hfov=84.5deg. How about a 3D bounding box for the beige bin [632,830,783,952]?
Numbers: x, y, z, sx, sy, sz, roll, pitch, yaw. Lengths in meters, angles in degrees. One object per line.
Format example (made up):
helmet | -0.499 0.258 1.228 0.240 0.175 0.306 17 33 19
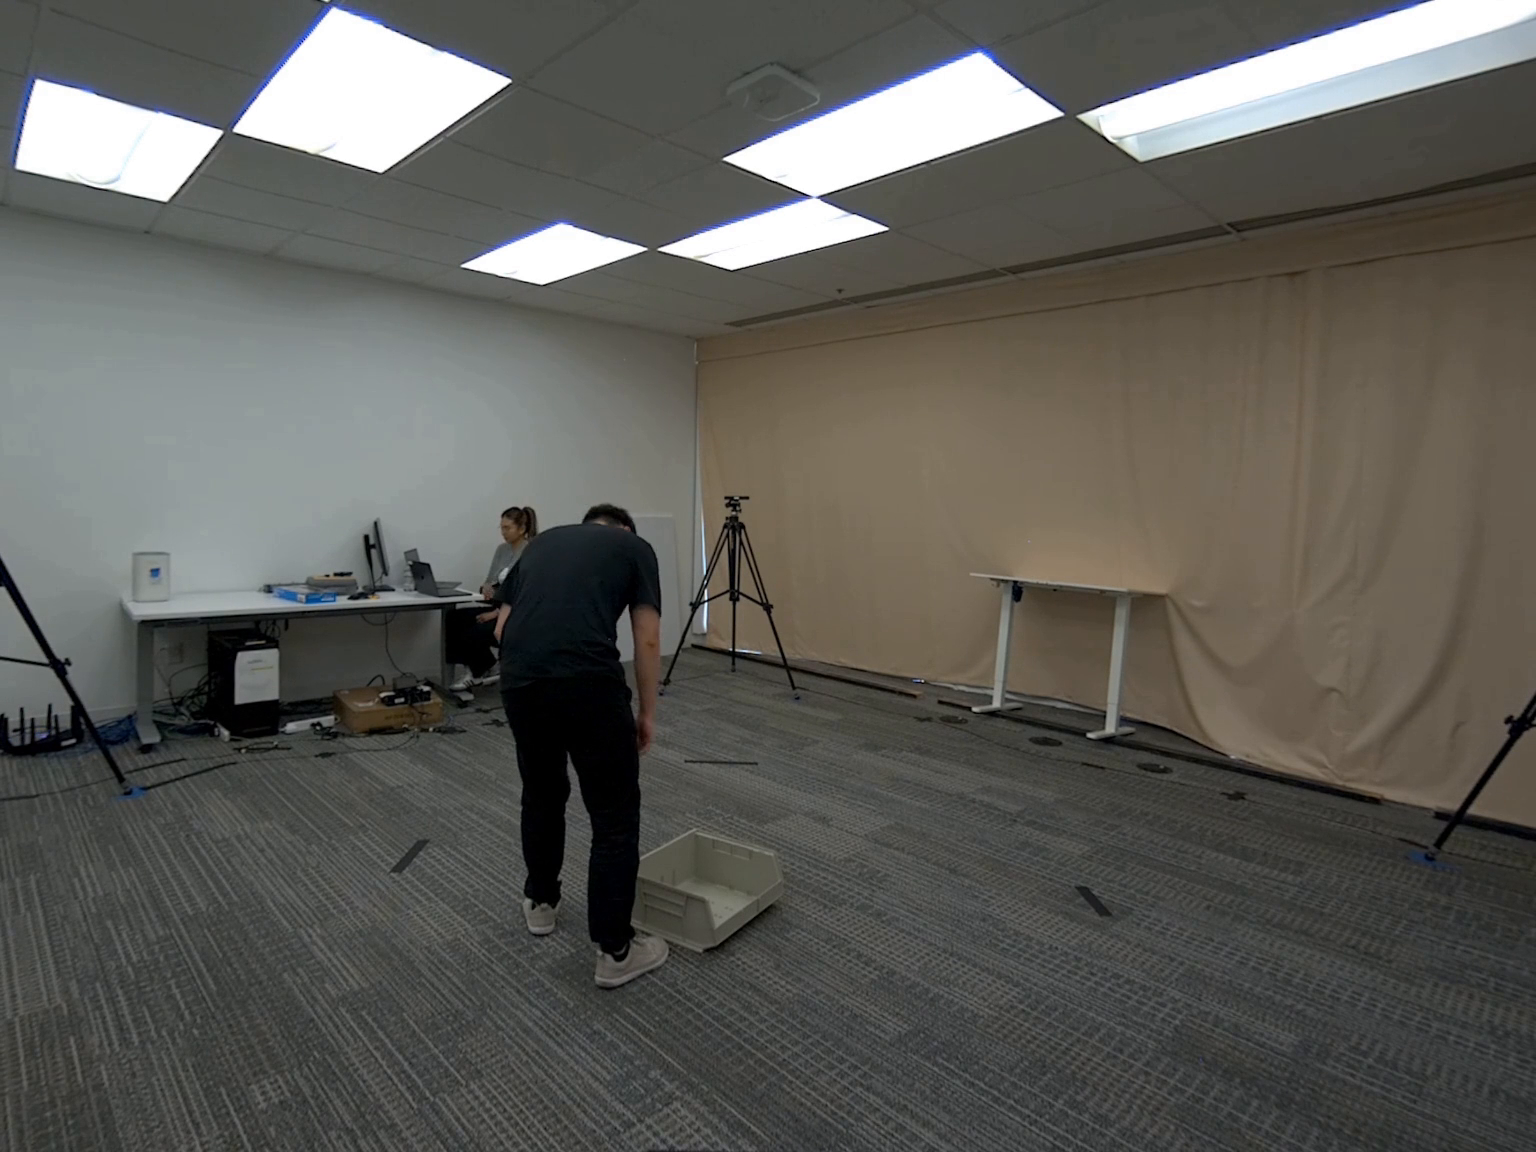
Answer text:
beige bin | -0.217 1.043 2.804 0.386 0.188 0.414 3 6 31
